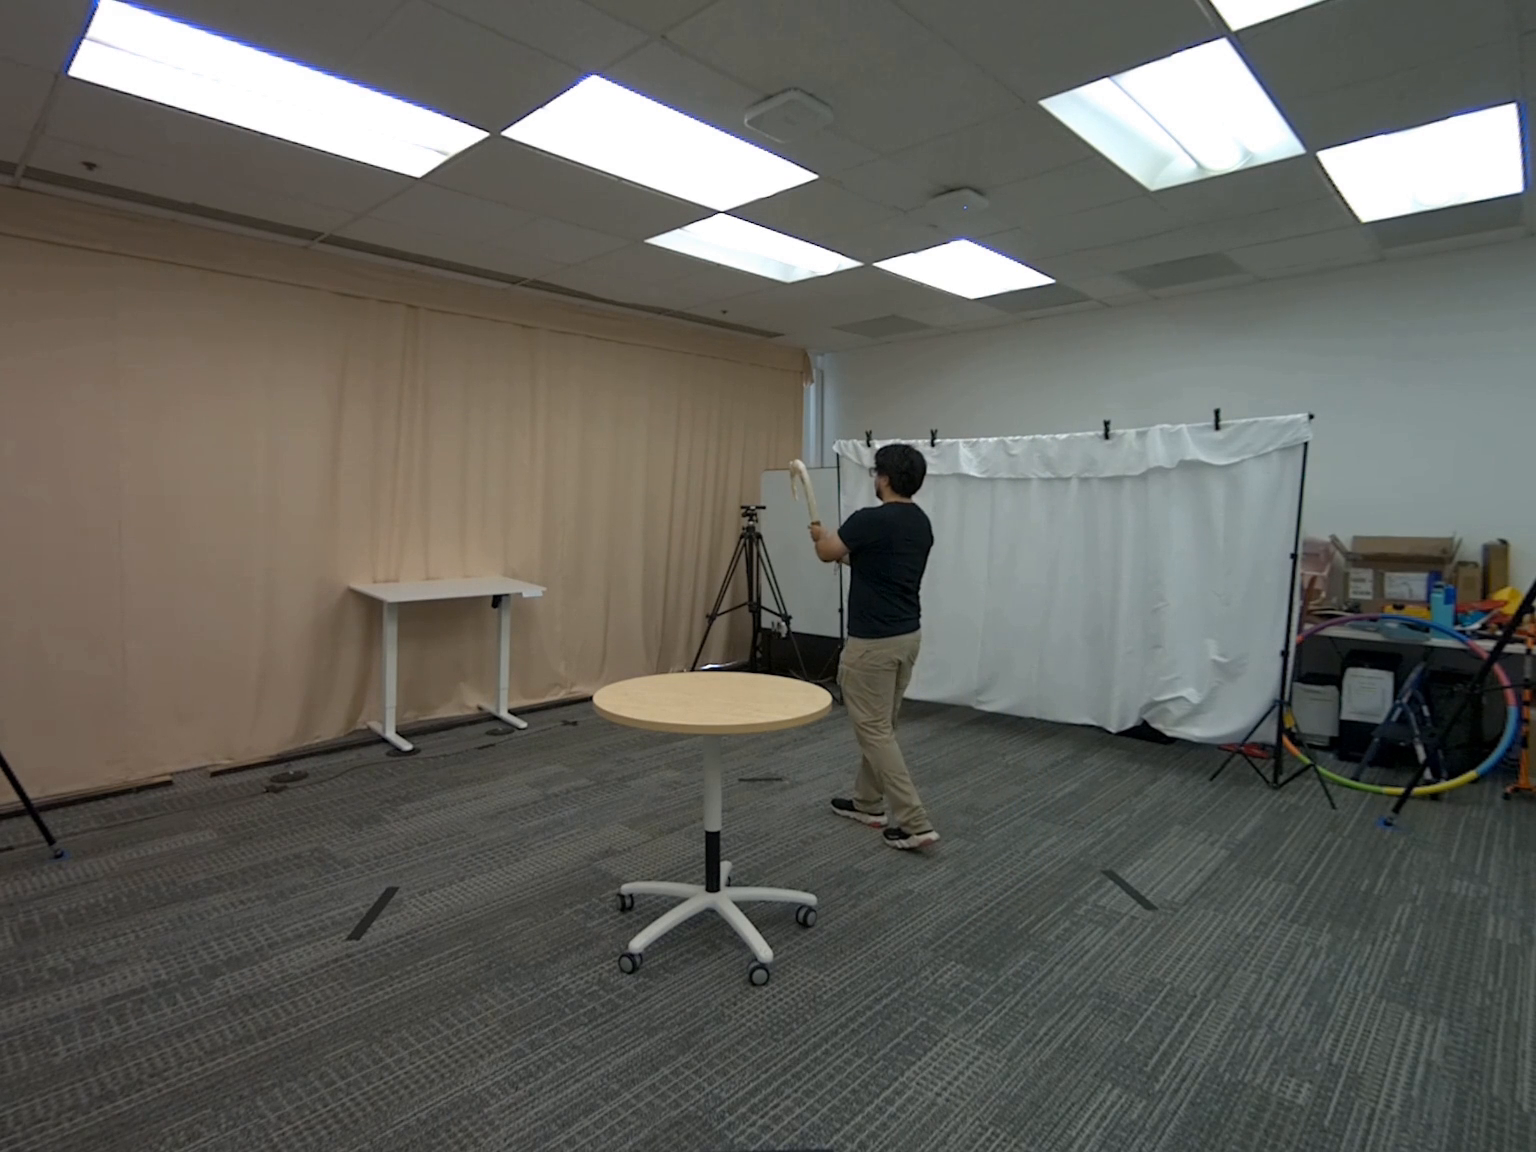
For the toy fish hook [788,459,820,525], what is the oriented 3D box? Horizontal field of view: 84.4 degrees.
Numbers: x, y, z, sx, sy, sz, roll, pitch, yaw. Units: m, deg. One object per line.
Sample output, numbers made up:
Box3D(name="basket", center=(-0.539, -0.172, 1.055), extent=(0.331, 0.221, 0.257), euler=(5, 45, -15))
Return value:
Box3D(name="toy fish hook", center=(0.196, -0.303, 4.004), extent=(0.048, 0.507, 0.227), euler=(-13, -2, -15))
